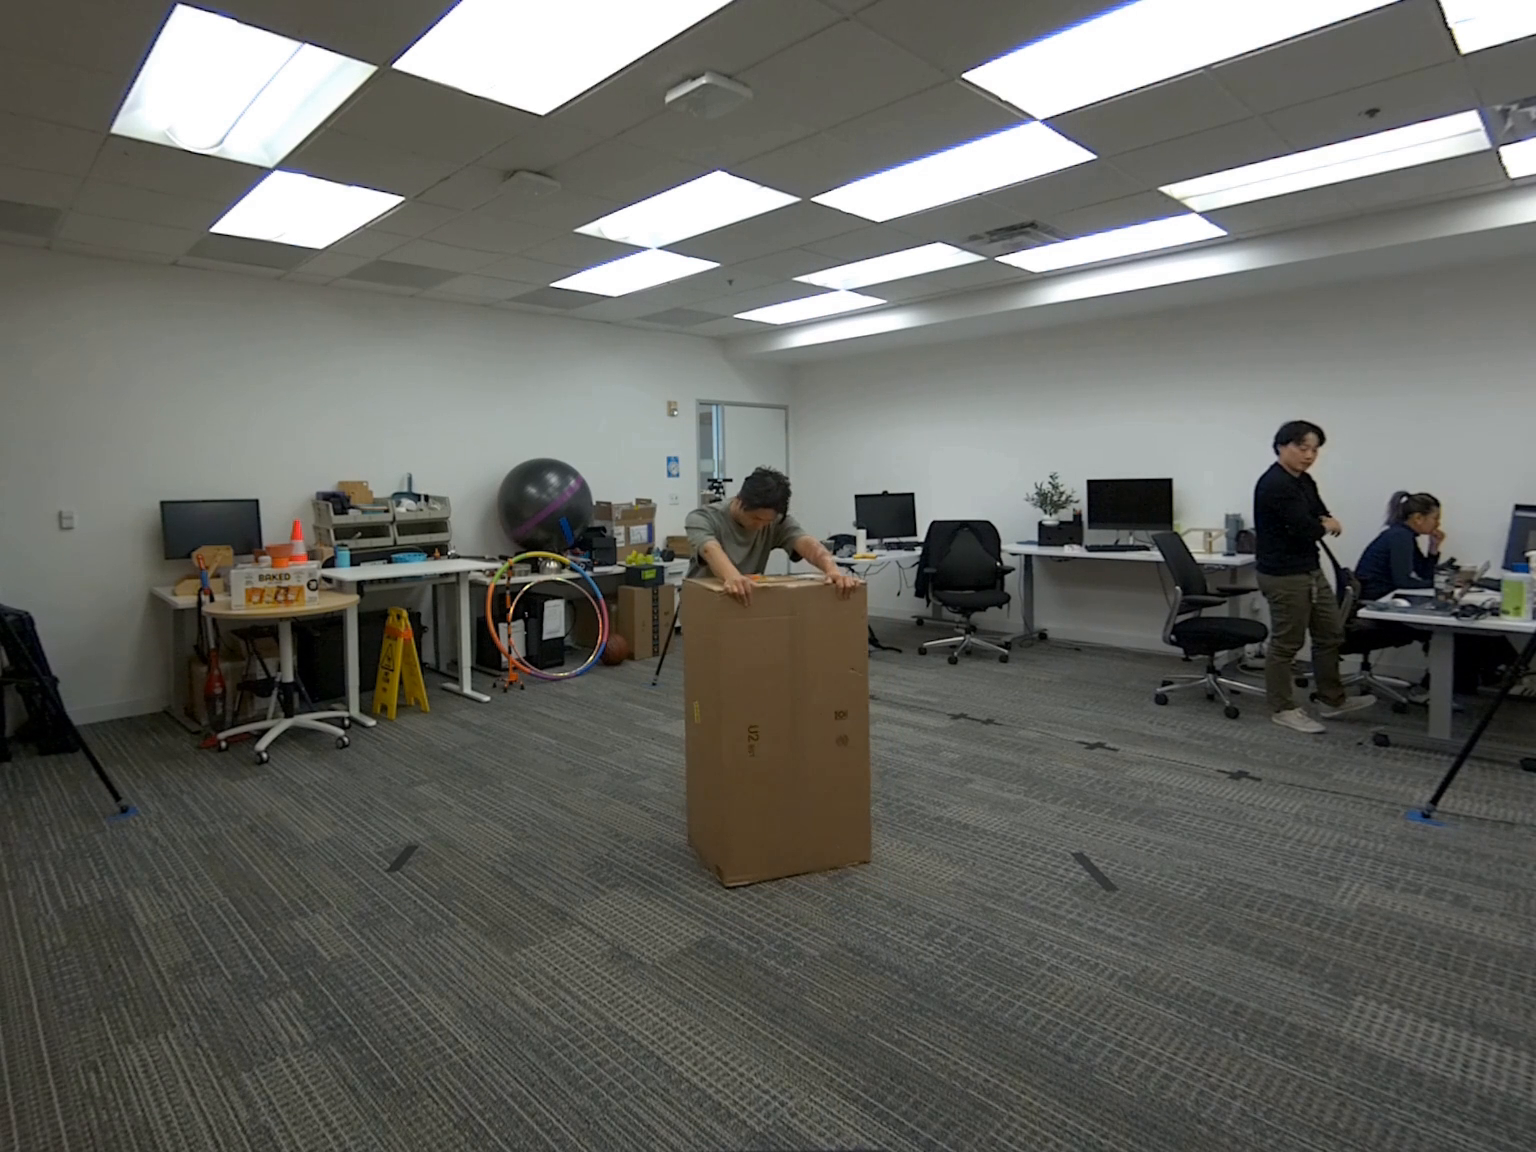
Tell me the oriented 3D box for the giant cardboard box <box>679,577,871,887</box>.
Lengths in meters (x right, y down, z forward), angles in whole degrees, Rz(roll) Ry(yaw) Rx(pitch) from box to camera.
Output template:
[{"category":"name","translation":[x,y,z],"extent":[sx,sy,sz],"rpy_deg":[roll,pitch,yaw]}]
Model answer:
[{"category":"giant cardboard box","translation":[0.025,0.521,3.179],"extent":[0.567,1.023,0.435],"rpy_deg":[-2,3,-21]}]
